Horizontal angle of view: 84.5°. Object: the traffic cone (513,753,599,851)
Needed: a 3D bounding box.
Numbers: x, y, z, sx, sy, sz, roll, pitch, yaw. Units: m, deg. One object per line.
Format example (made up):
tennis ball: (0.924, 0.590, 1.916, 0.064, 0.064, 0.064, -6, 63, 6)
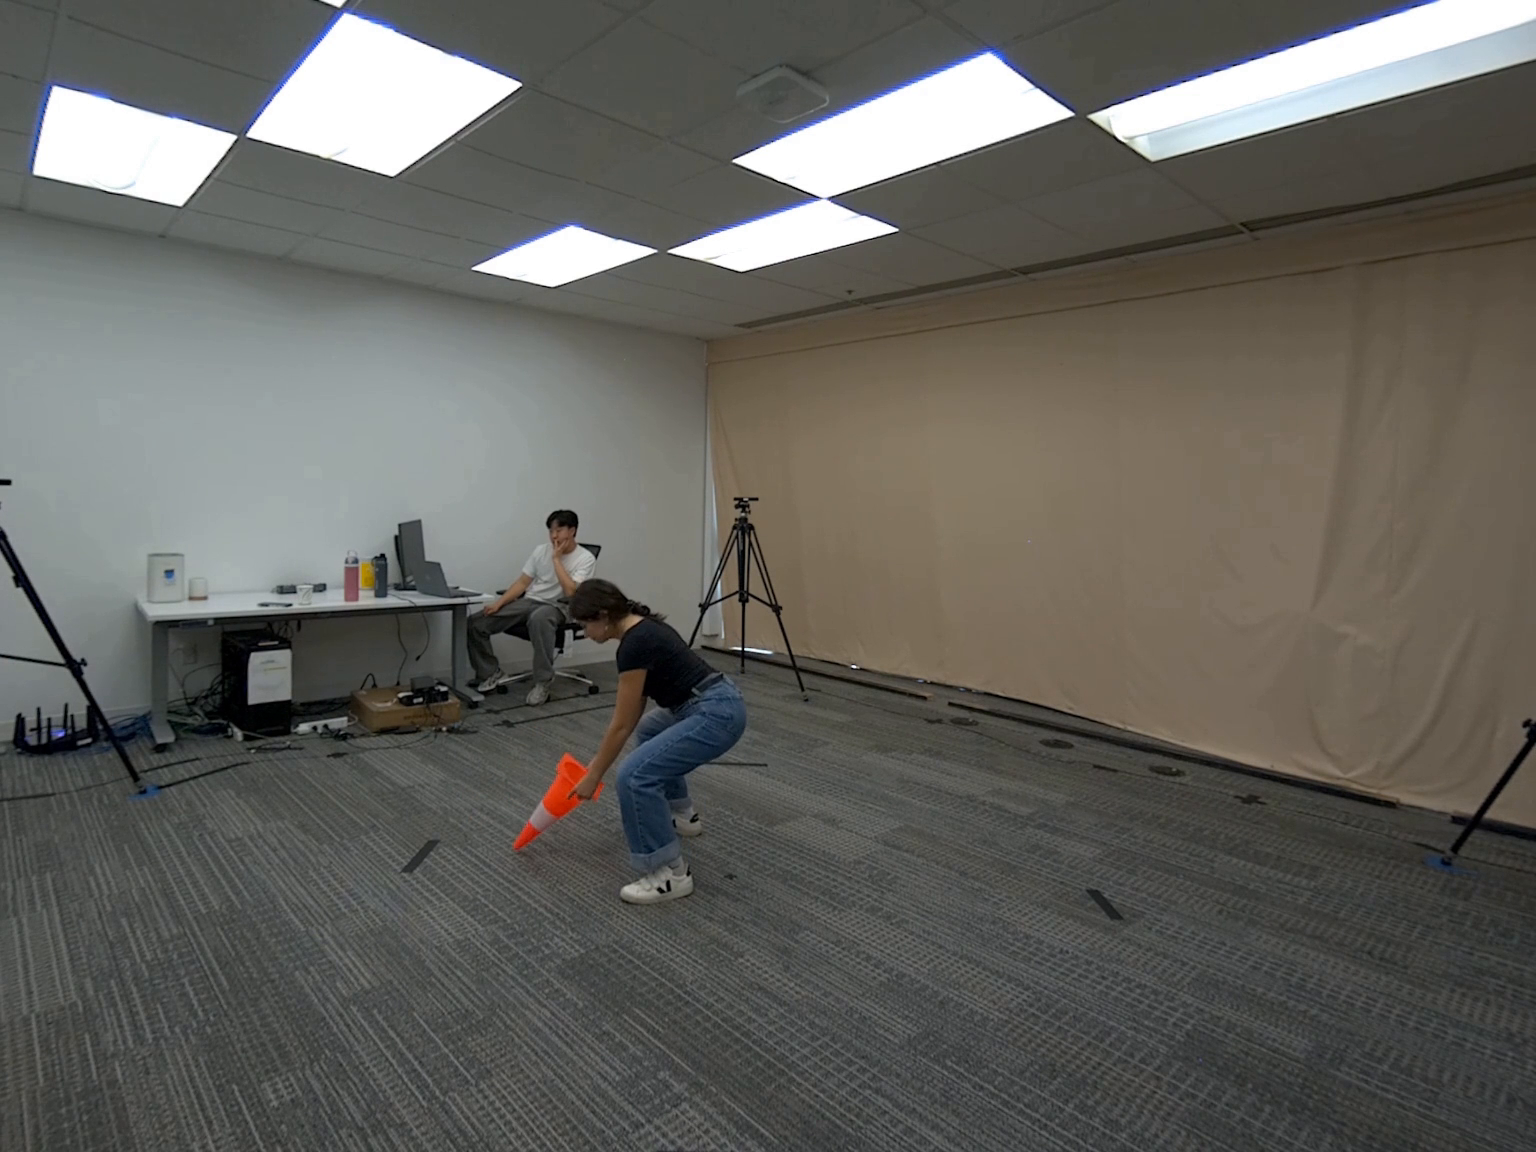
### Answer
traffic cone: (-0.865, 0.913, 3.247, 0.204, 0.383, 0.205, 43, 1, -6)
